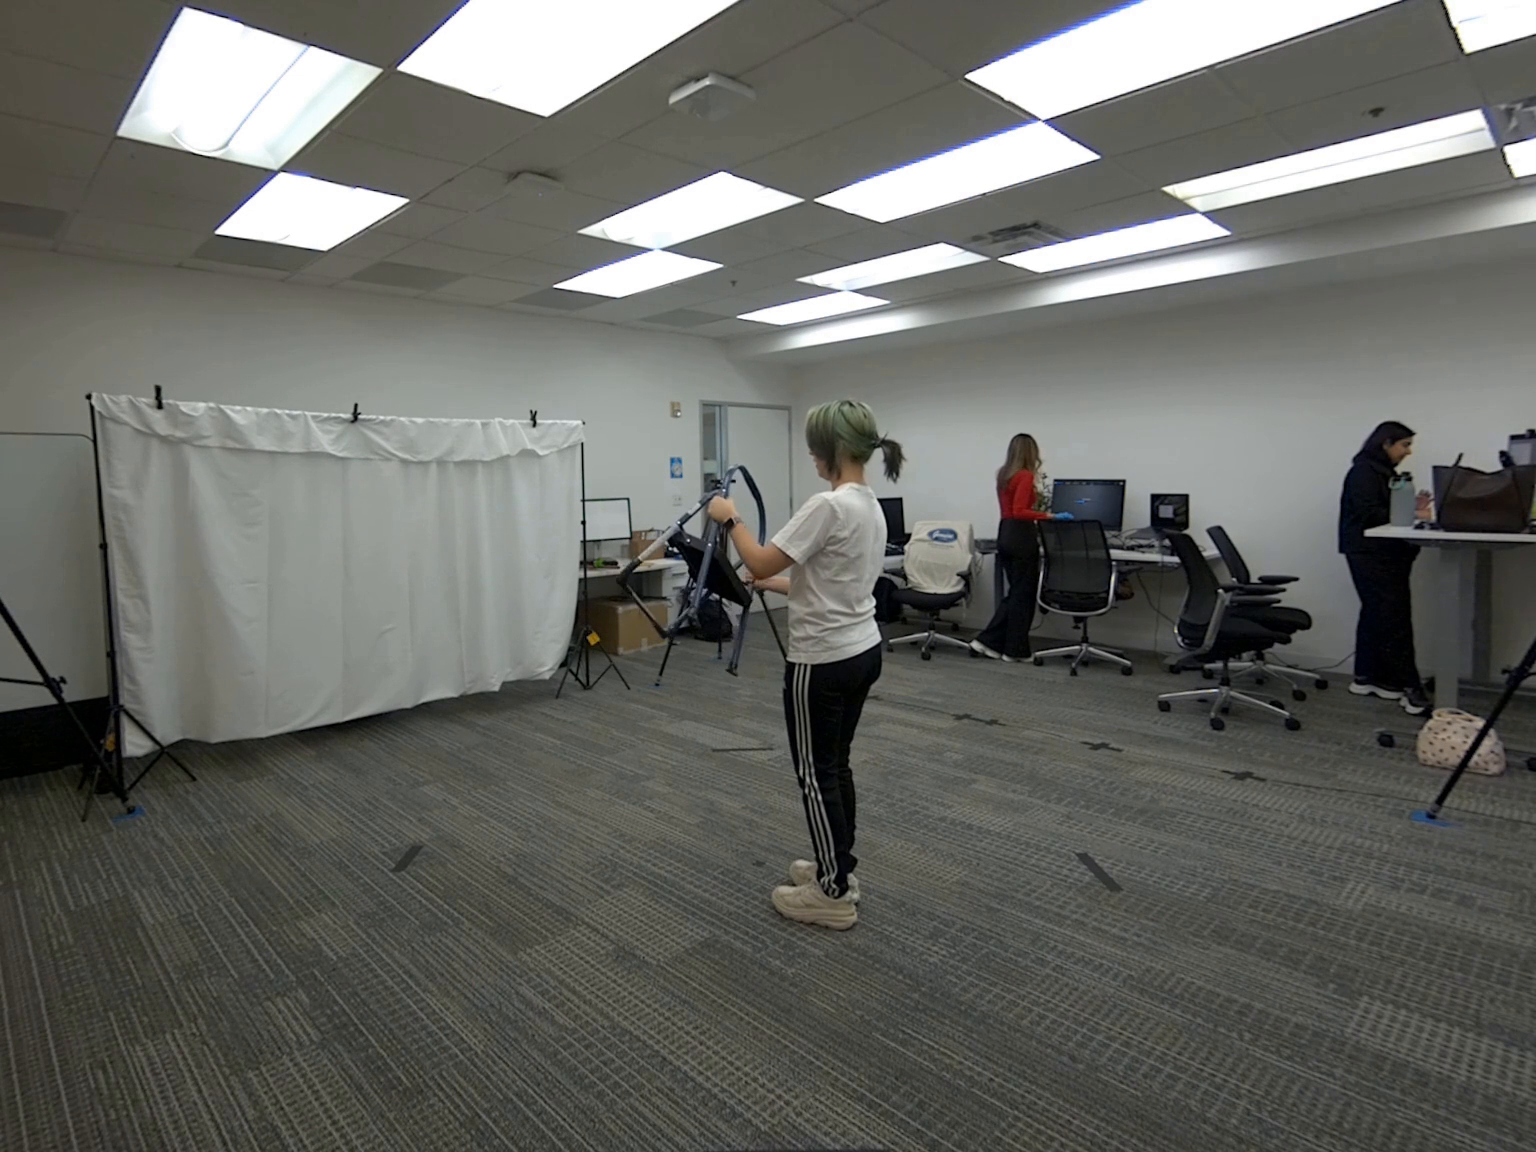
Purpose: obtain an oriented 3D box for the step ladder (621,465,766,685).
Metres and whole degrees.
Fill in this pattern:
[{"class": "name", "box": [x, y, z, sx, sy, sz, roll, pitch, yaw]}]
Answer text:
[{"class": "step ladder", "box": [-0.144, -0.068, 2.912, 0.361, 0.608, 0.415, 21, -23, 30]}]
